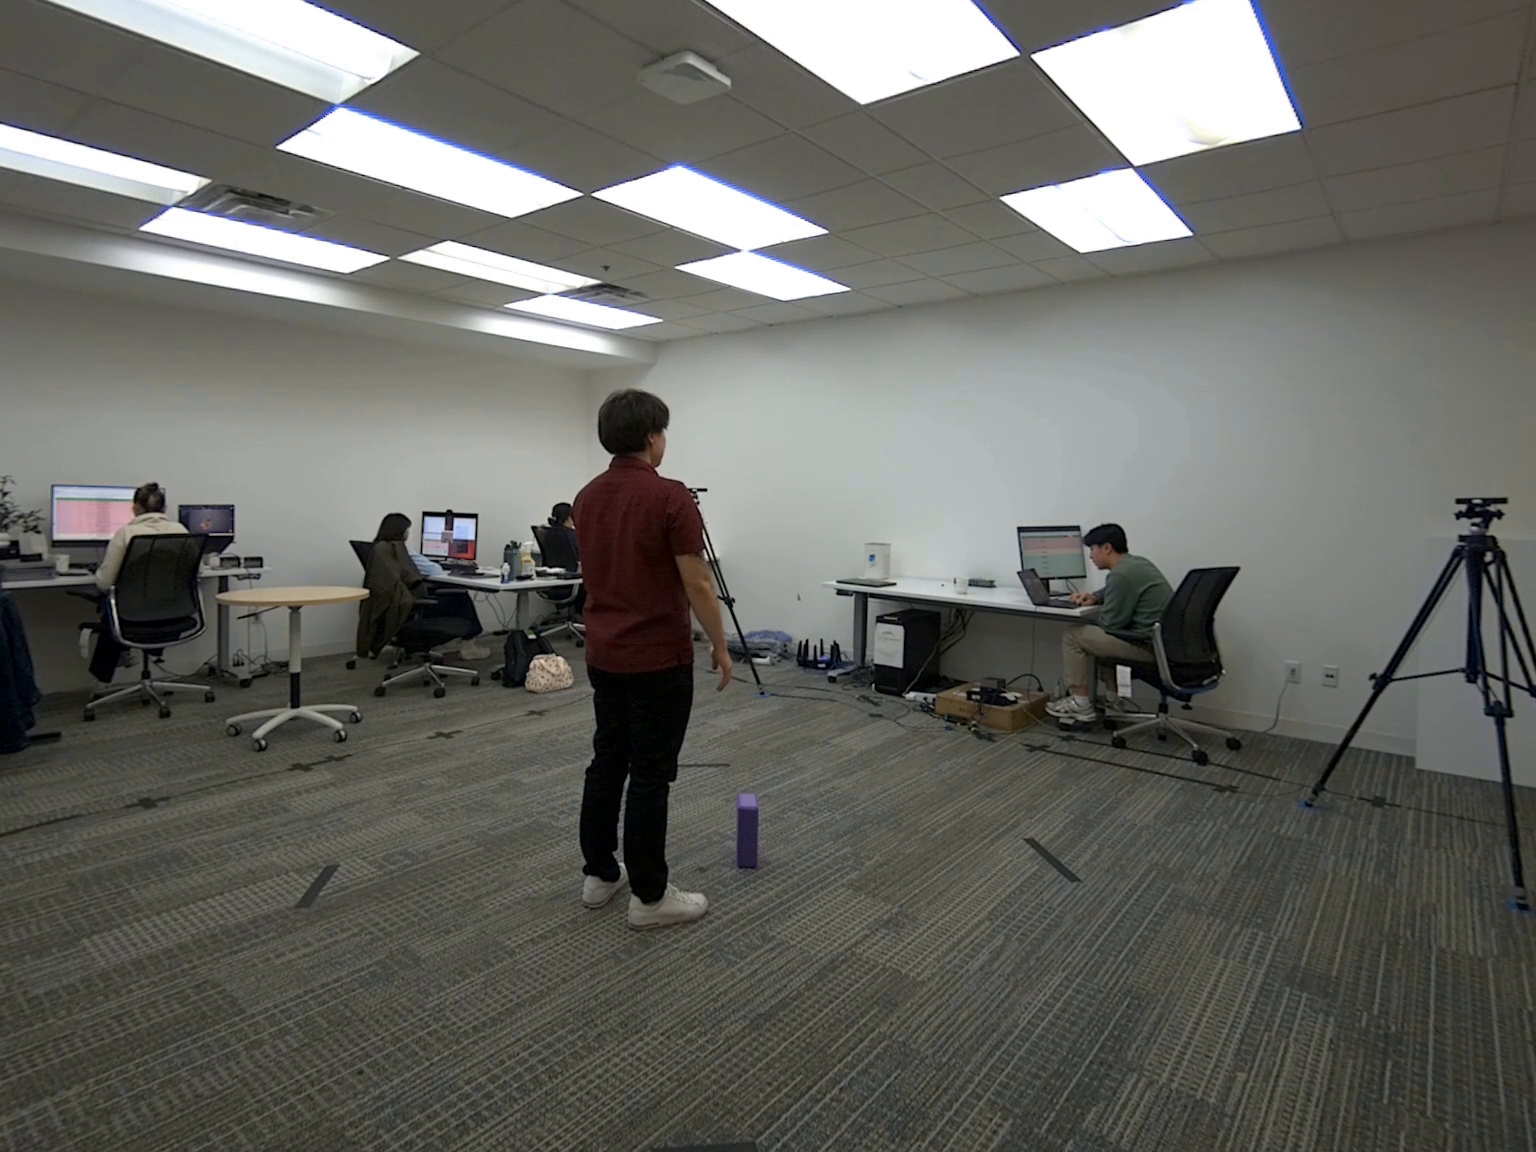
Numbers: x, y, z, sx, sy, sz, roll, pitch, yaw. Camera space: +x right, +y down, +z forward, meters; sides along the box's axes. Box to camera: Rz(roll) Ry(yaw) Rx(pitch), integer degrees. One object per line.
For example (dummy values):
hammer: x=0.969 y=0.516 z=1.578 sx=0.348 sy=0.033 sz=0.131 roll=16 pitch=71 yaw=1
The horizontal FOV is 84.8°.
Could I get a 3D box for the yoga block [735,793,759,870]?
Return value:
yoga block: x=-0.087 y=0.951 z=3.187 sx=0.076 sy=0.229 sz=0.149 roll=-1 pitch=3 yaw=-2
